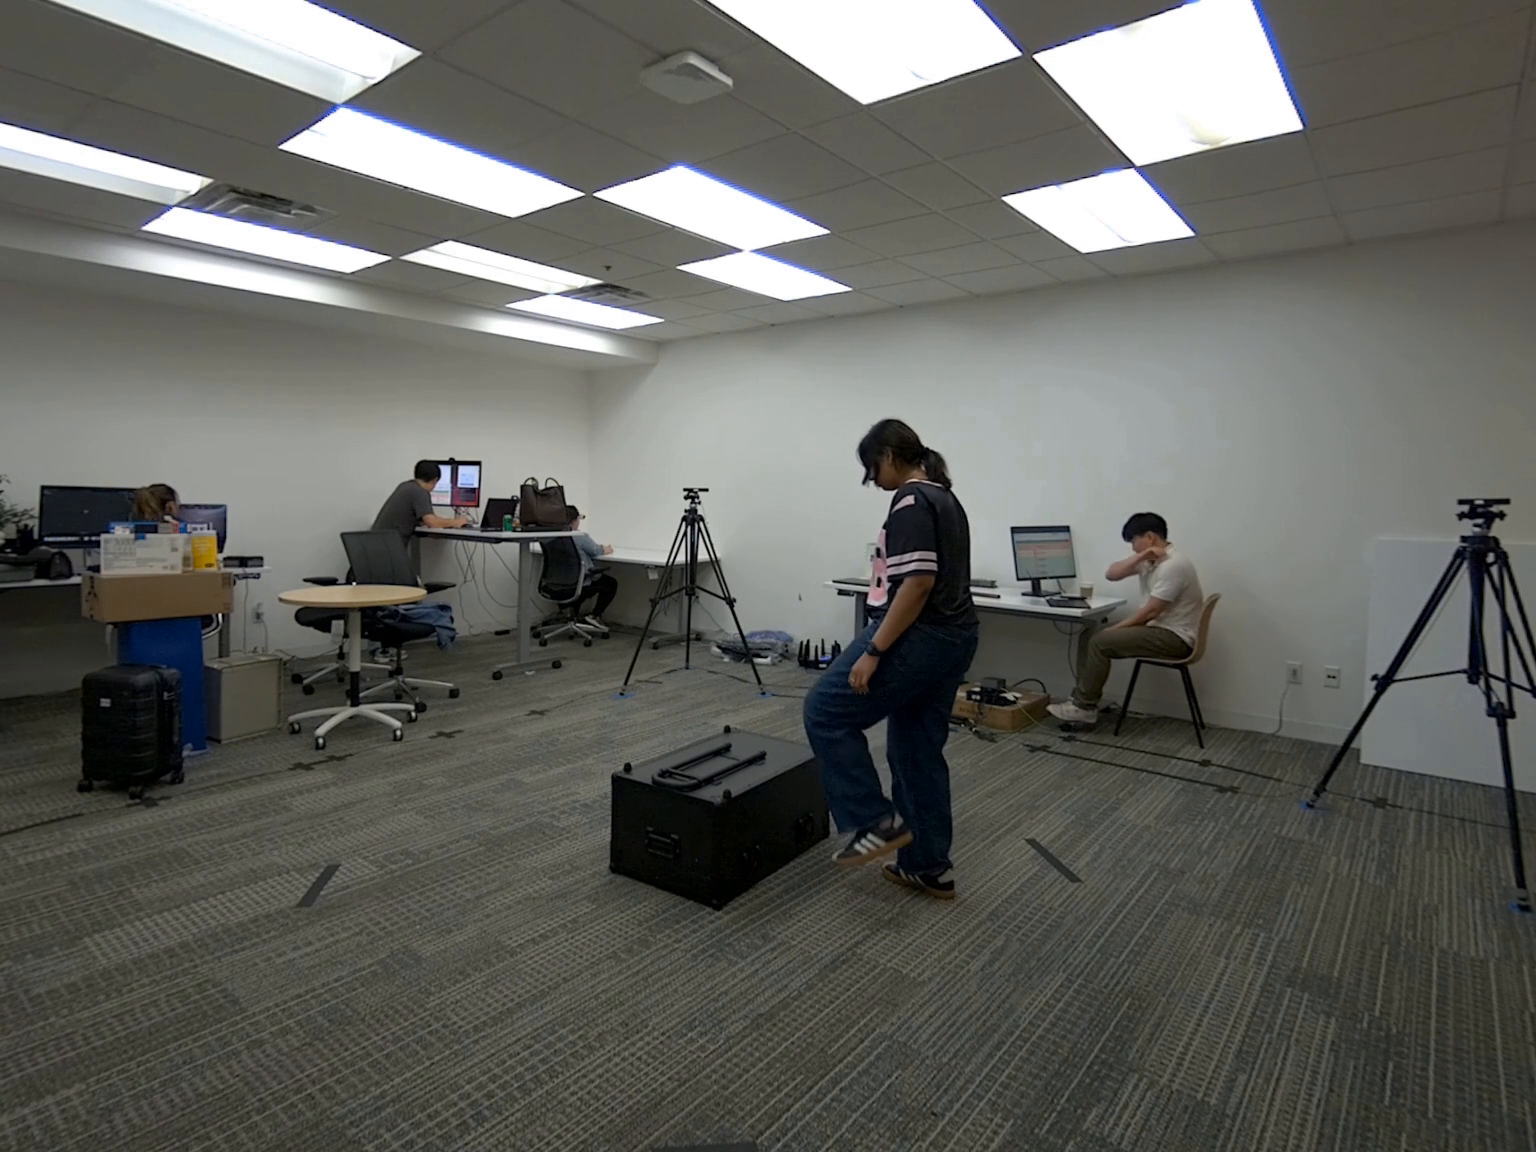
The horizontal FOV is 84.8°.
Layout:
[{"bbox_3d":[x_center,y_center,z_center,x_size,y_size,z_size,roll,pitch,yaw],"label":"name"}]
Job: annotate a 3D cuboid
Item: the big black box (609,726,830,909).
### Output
[{"bbox_3d":[-0.157,0.869,3.276,0.539,0.384,0.845,2,4,33],"label":"big black box"}]
